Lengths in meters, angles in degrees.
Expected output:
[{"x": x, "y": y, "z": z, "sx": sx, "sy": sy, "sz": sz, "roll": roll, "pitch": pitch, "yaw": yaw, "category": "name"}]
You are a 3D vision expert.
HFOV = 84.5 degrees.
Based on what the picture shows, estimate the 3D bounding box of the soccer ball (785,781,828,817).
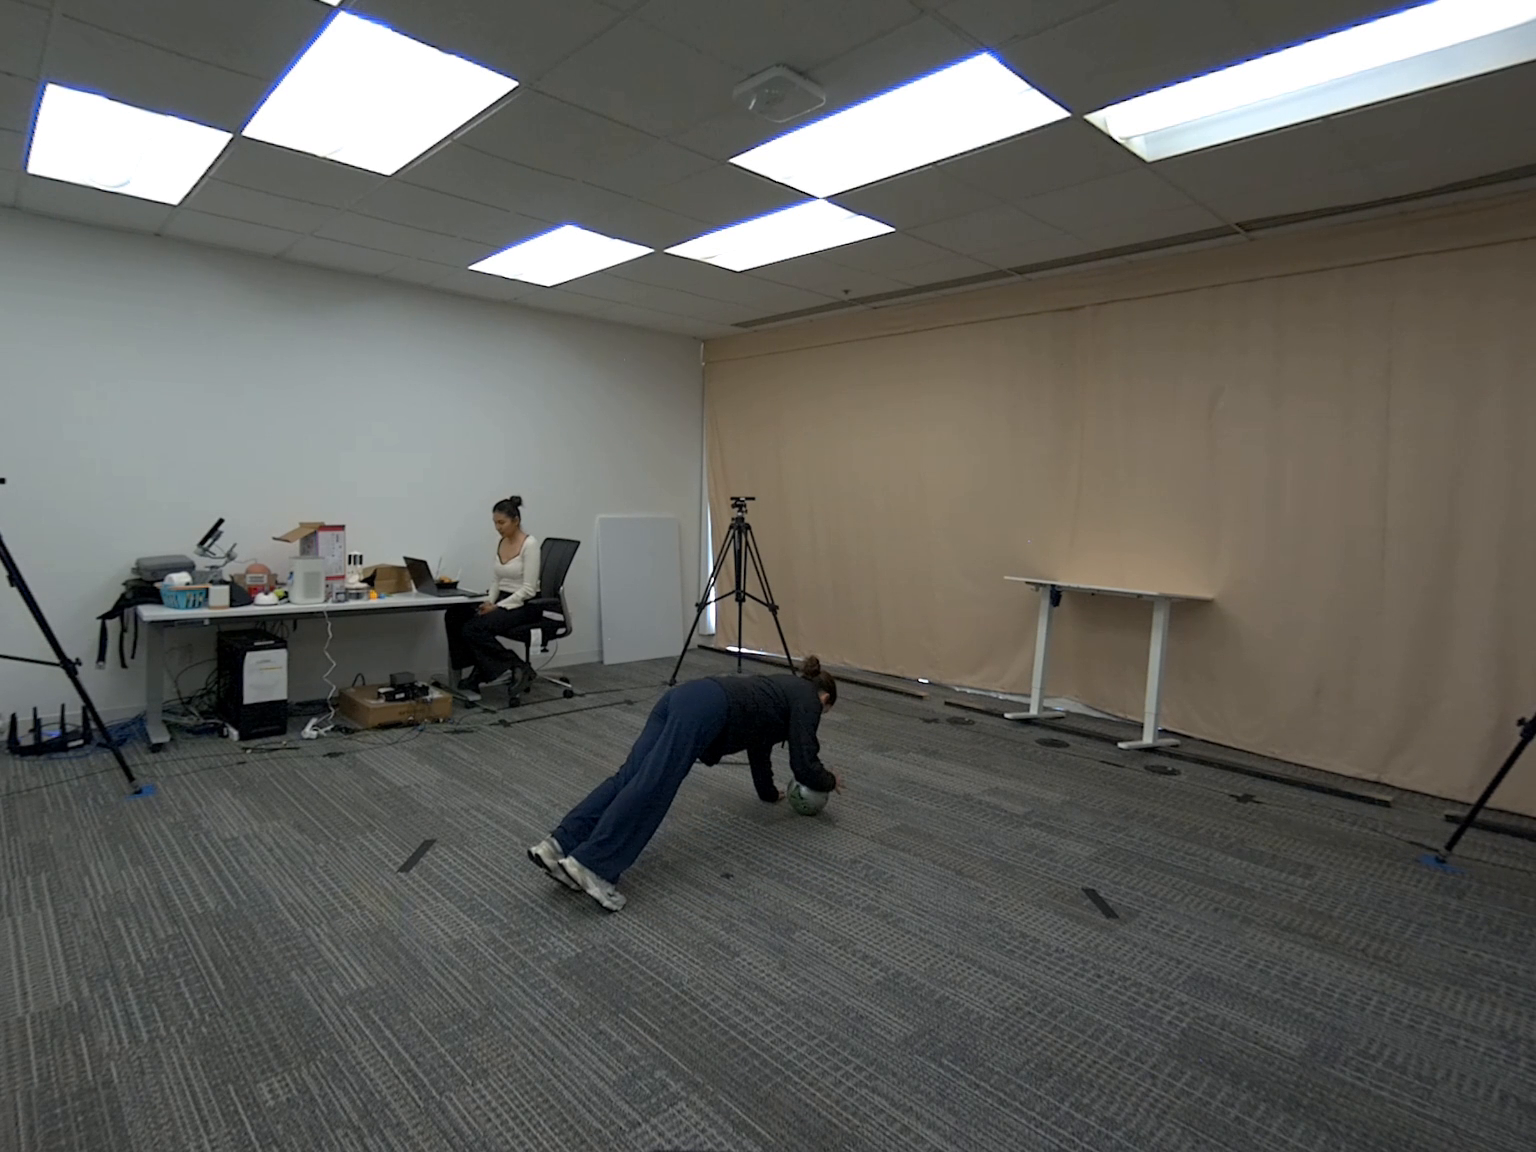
[{"x": 0.172, "y": 0.966, "z": 3.751, "sx": 0.187, "sy": 0.187, "sz": 0.188, "roll": 1, "pitch": 4, "yaw": -1, "category": "soccer ball"}]
